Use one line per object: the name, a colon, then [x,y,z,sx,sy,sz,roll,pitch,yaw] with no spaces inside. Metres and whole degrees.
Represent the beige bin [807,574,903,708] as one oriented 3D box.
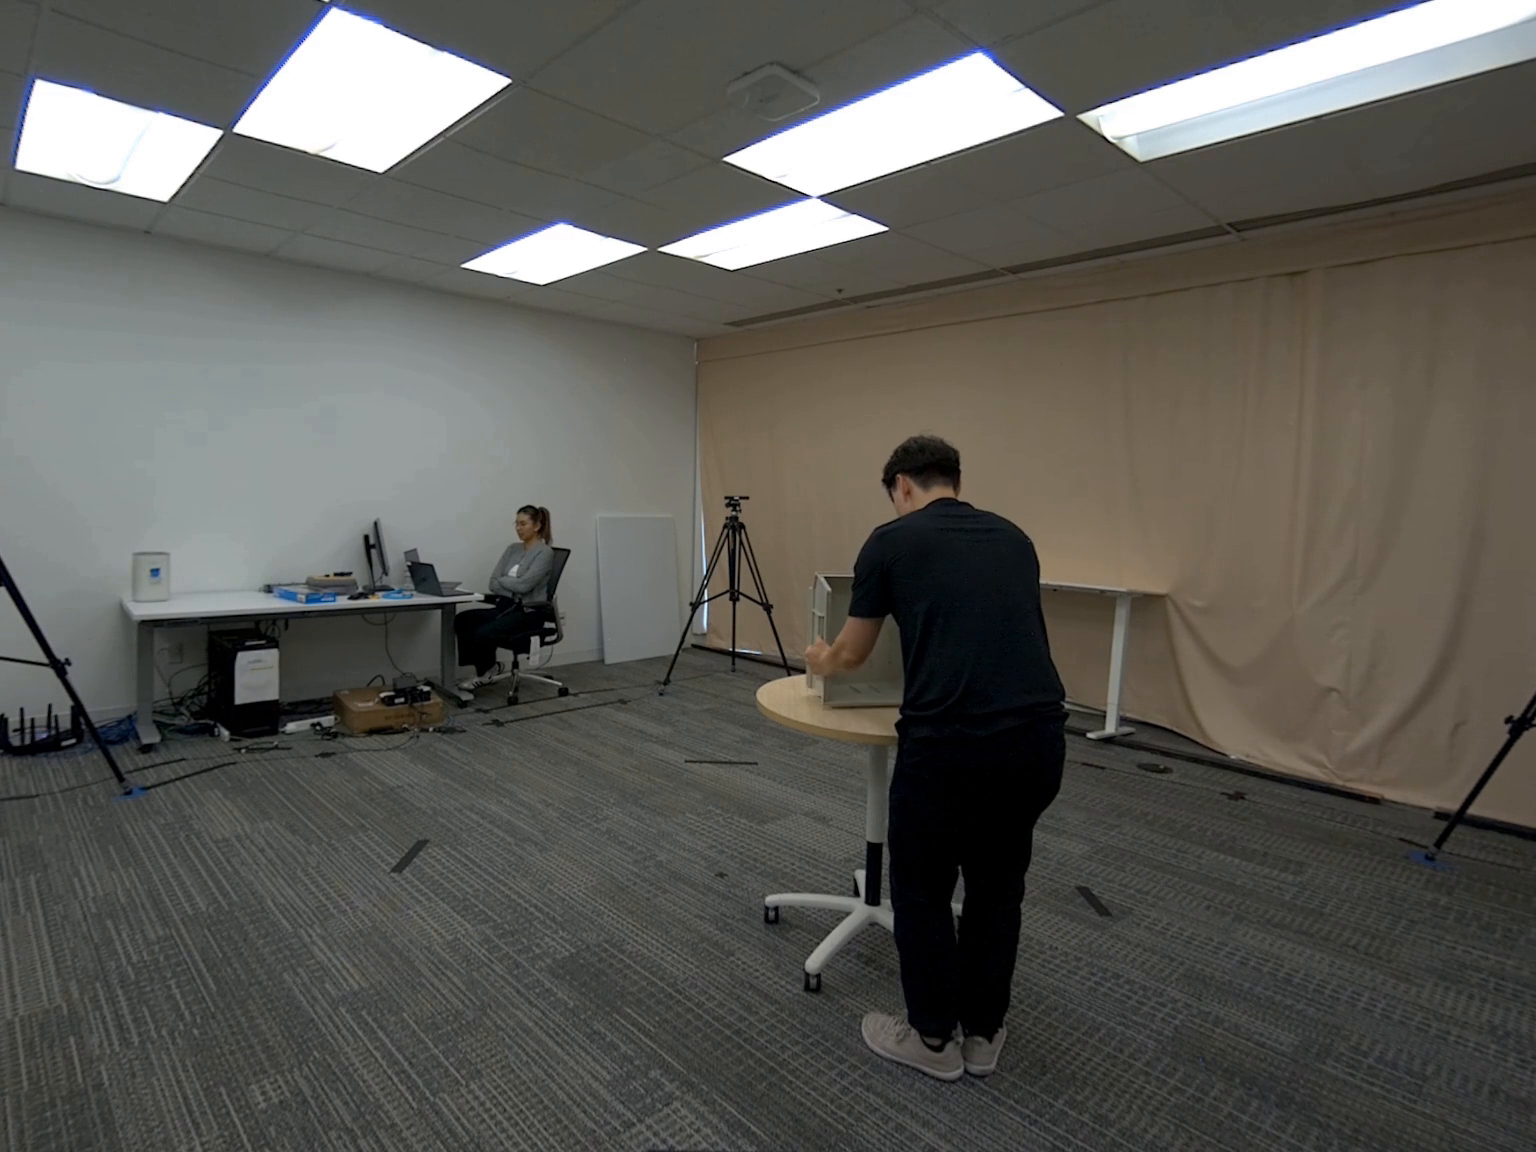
beige bin: [0.339,0.181,2.558,0.417,0.376,0.192,0,4,-14]
